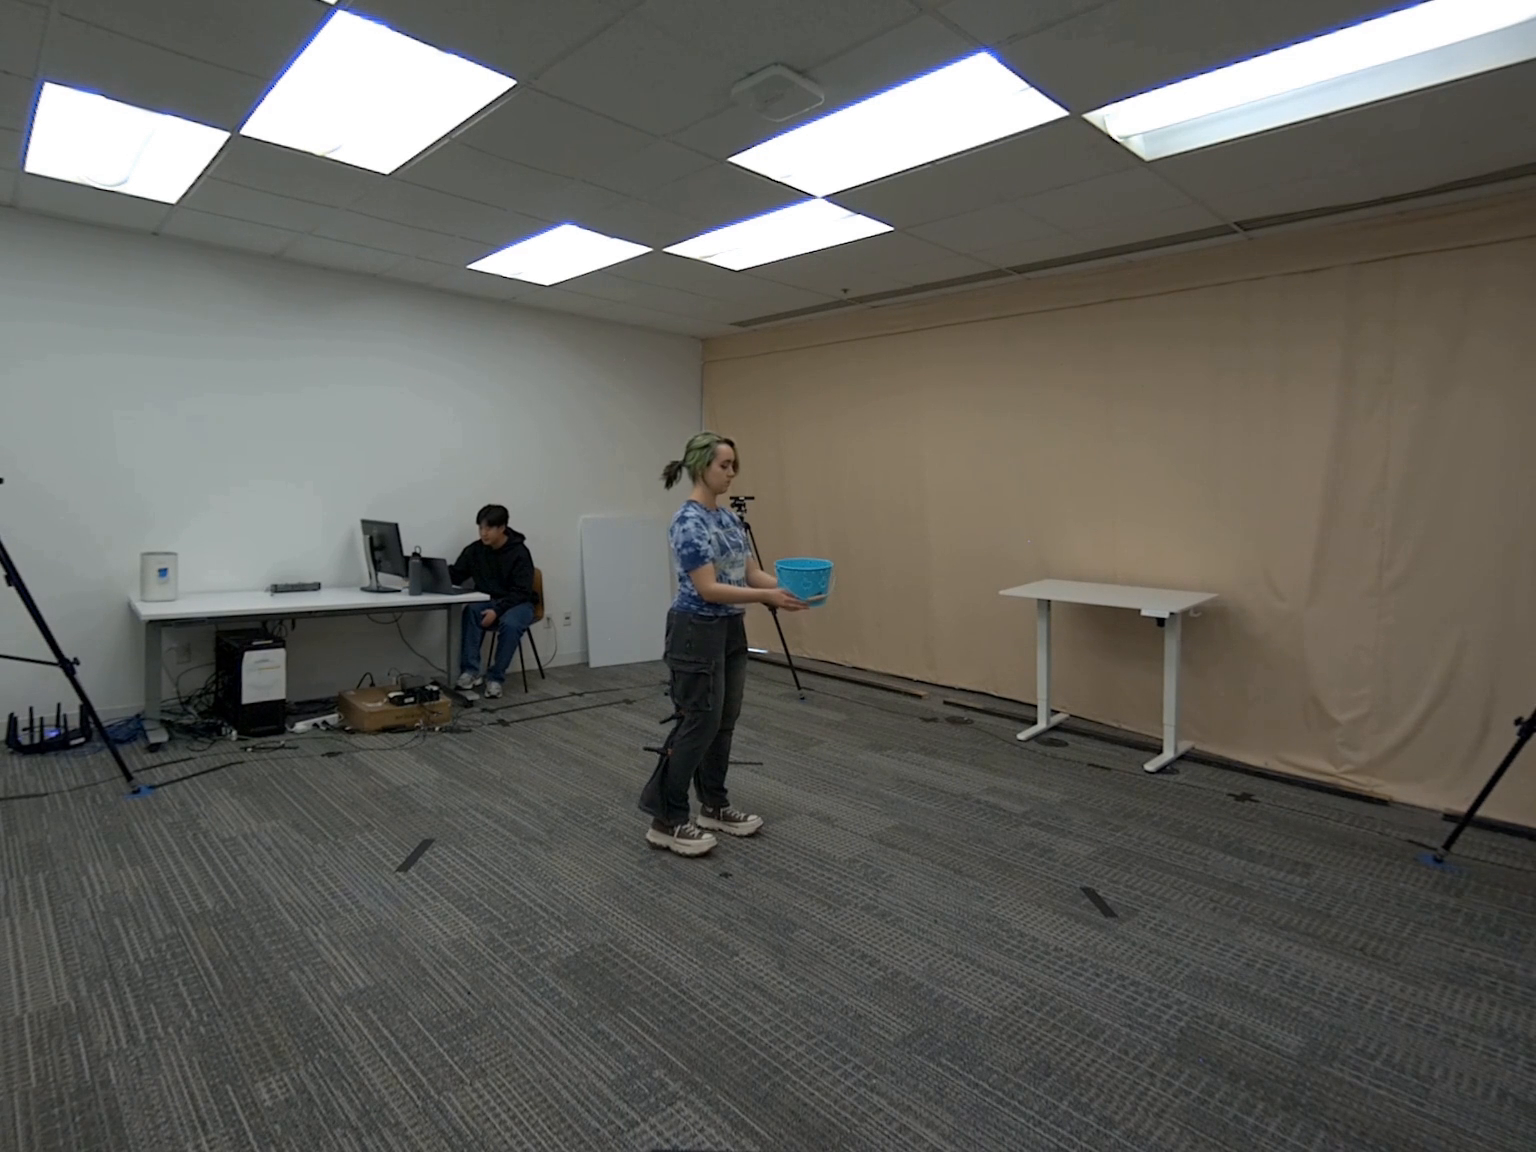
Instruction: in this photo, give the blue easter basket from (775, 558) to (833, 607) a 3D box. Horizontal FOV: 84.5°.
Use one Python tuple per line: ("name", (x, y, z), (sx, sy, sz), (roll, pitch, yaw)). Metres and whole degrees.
("blue easter basket", (0.124, 0.028, 3.268), (0.243, 0.155, 0.245), (-1, 9, -1))
